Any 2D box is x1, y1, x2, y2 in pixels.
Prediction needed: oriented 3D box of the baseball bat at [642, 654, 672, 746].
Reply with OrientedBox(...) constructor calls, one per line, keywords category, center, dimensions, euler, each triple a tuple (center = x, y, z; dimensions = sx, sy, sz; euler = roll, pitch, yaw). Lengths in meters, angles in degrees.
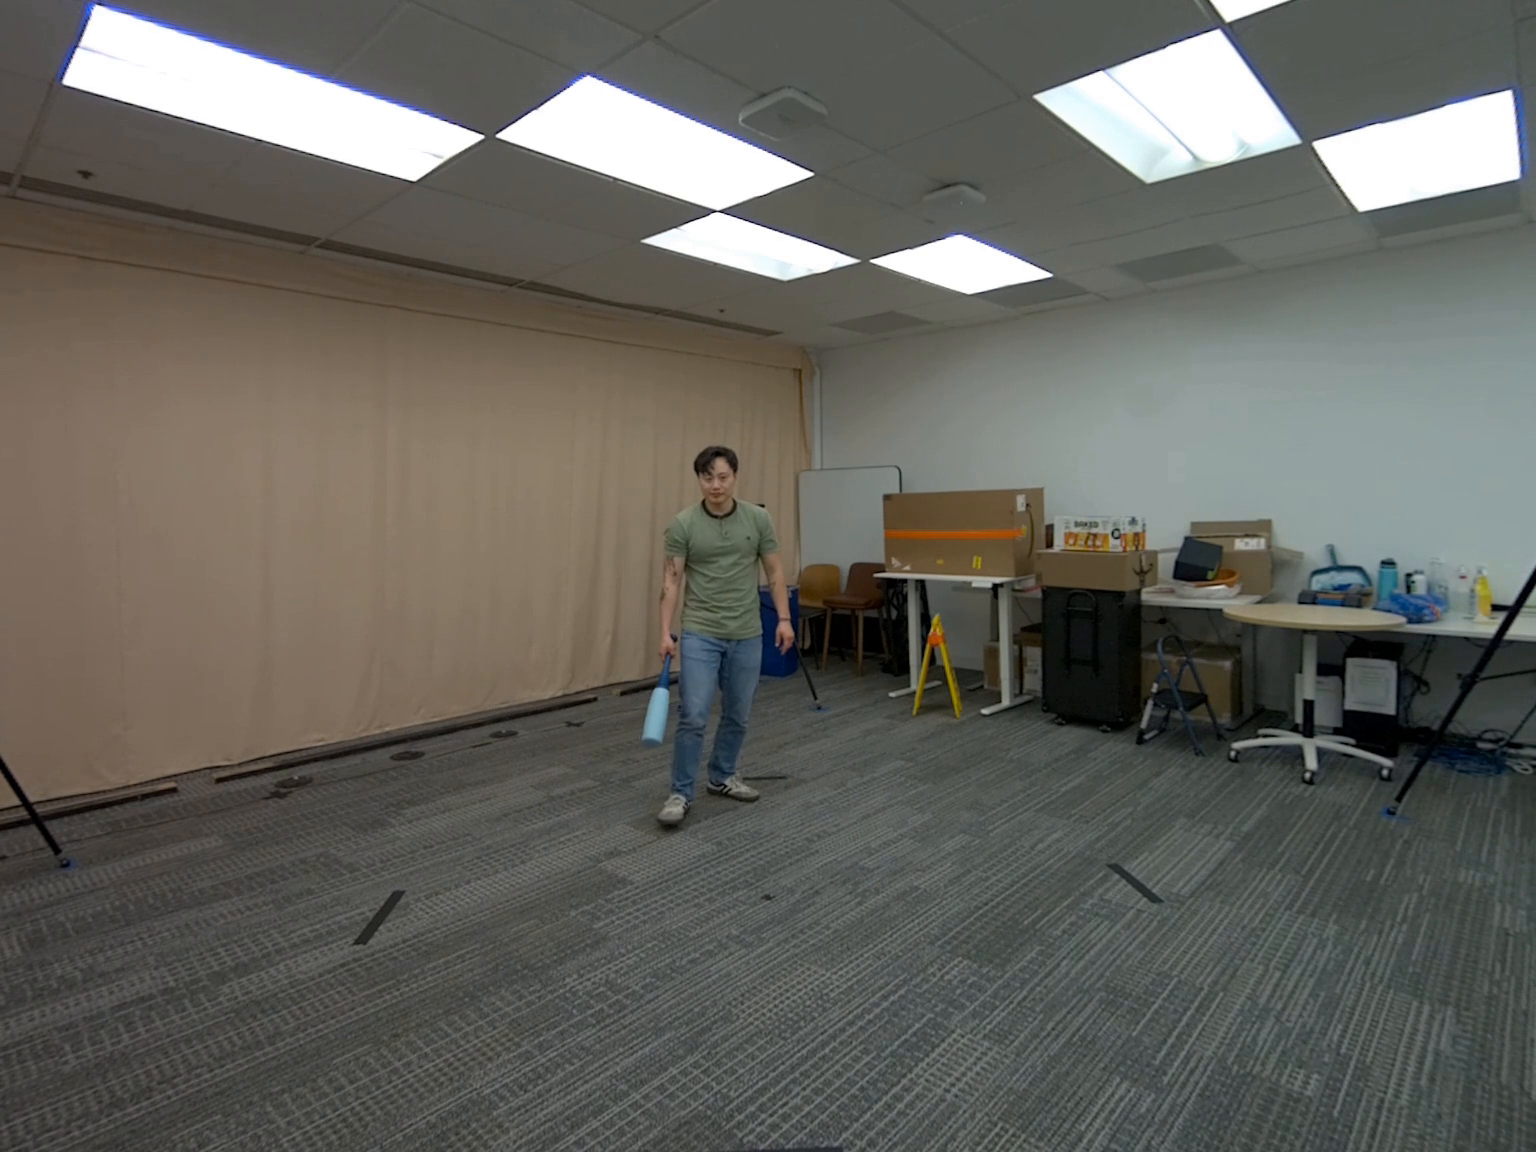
OrientedBox(category="baseball bat", center=(-0.453, 0.486, 3.642), dimensions=(0.089, 0.550, 0.087), euler=(6, -39, 3))
